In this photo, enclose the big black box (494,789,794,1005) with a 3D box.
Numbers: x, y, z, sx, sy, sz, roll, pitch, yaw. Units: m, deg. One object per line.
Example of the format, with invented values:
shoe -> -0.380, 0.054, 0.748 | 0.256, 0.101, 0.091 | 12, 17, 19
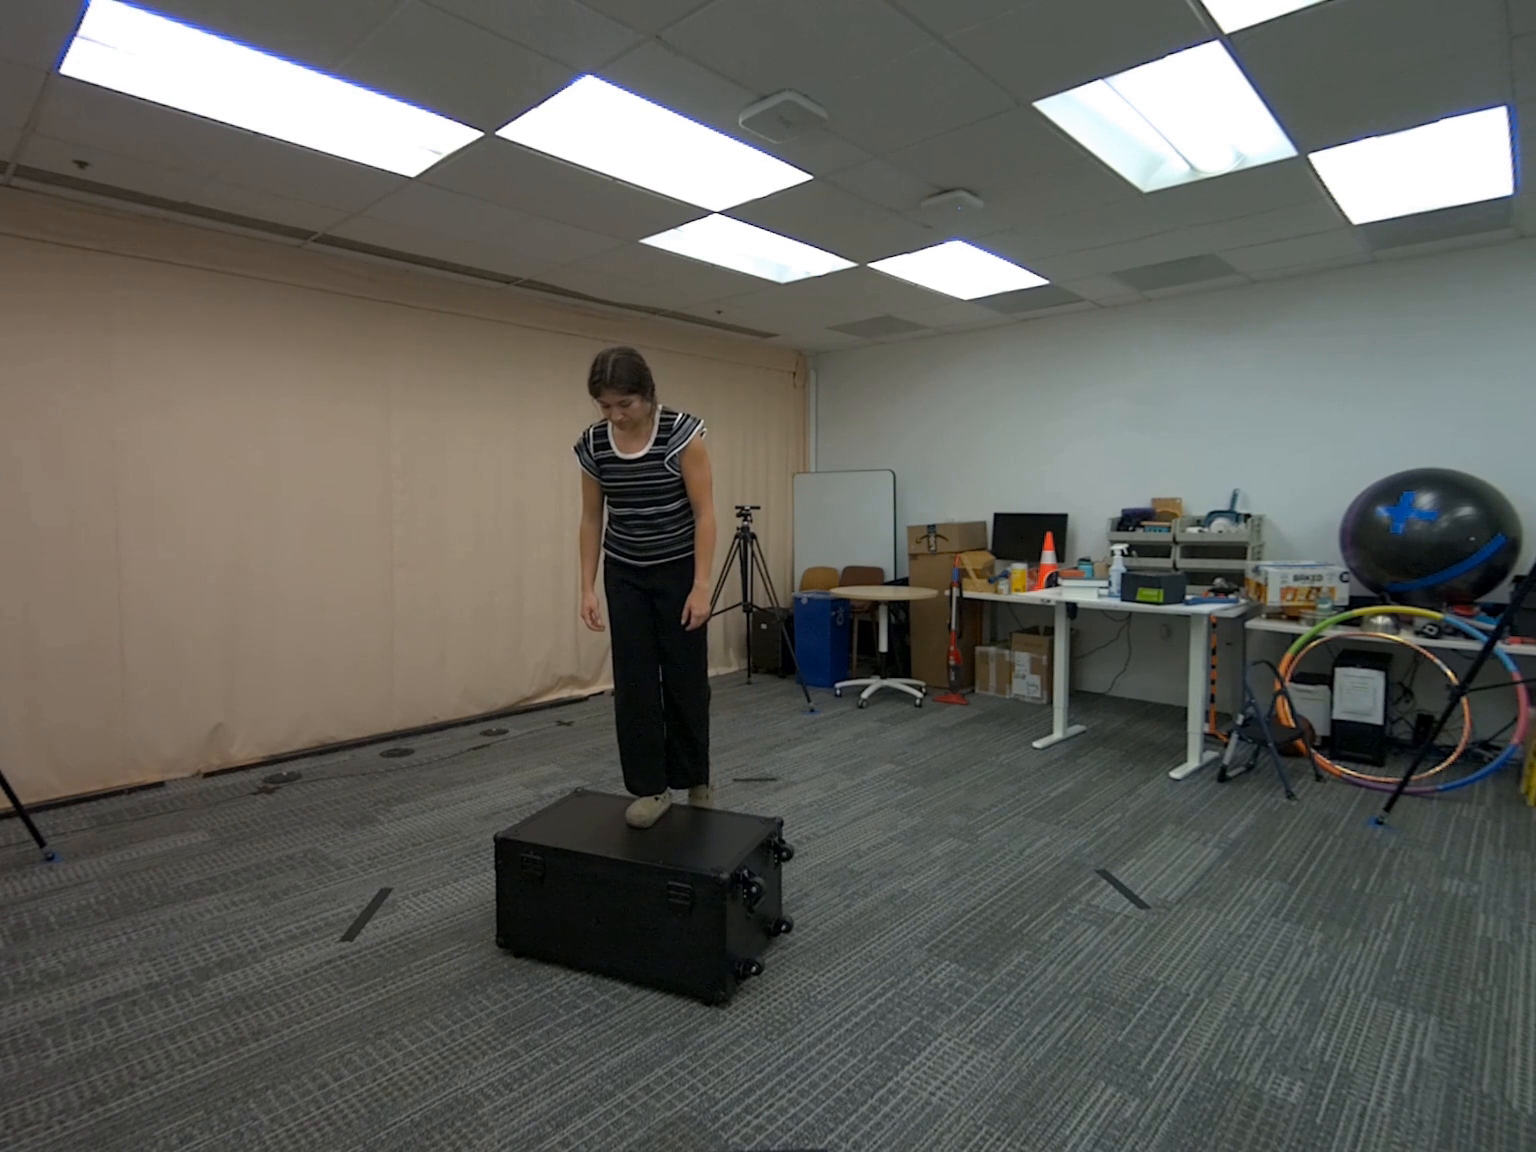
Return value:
big black box -> -0.366, 0.982, 2.662 | 0.881, 0.395, 0.510 | 1, 3, 22
